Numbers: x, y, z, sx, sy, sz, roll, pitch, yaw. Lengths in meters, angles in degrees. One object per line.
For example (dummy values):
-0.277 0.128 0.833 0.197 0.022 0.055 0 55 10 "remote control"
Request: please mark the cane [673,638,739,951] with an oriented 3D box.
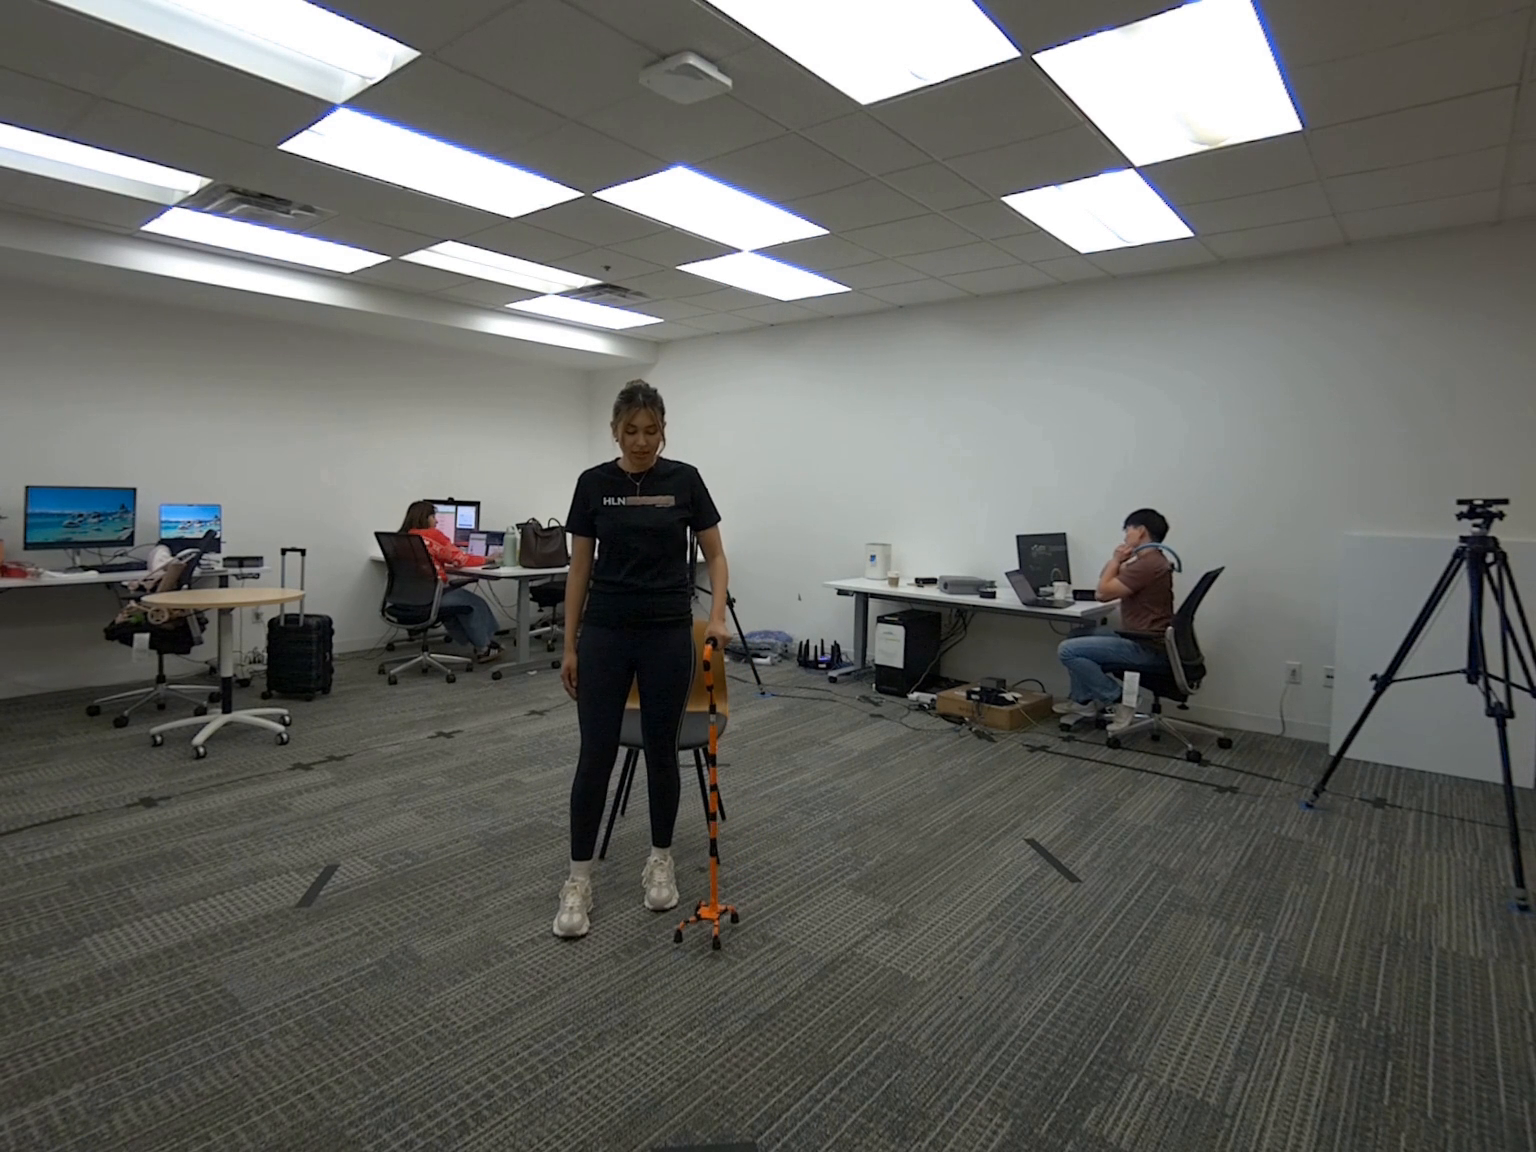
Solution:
-0.193 0.639 2.632 0.154 0.907 0.202 1 0 18 "cane"
